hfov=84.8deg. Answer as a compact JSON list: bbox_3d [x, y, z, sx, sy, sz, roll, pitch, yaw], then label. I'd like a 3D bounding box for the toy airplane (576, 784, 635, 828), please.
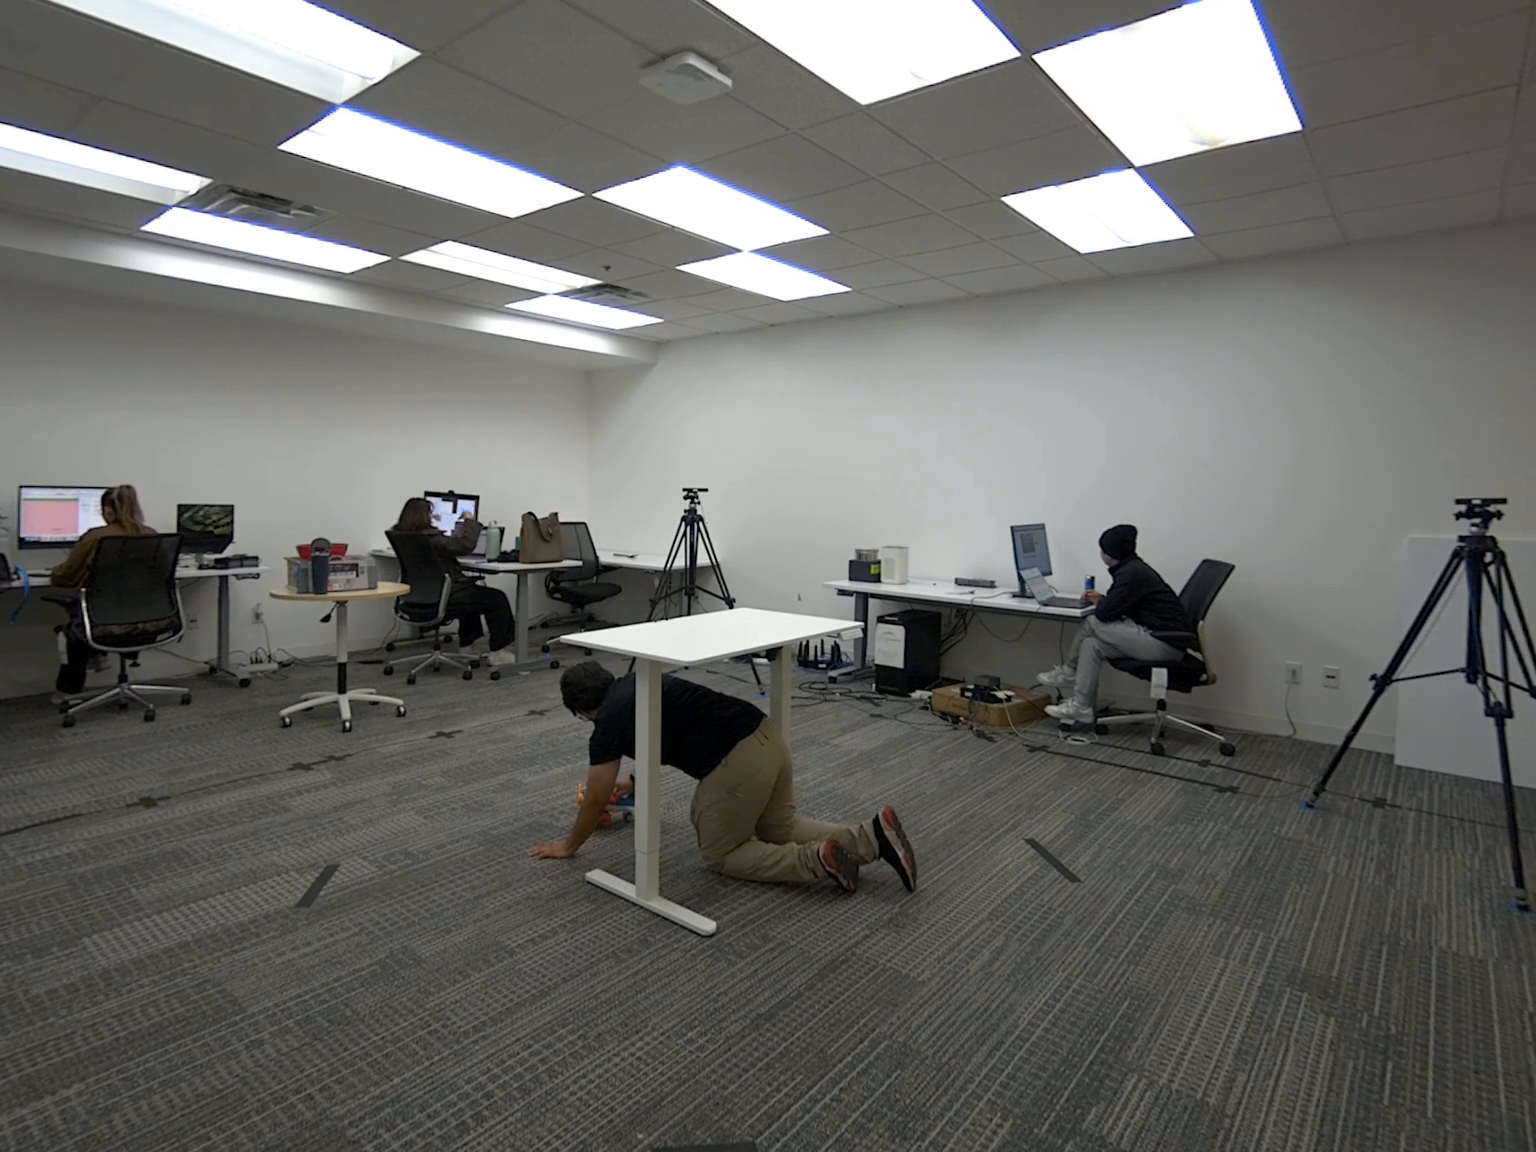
[{"bbox_3d":[-0.687,0.948,3.543,0.259,0.156,0.252,3,5,37],"label":"toy airplane"}]
